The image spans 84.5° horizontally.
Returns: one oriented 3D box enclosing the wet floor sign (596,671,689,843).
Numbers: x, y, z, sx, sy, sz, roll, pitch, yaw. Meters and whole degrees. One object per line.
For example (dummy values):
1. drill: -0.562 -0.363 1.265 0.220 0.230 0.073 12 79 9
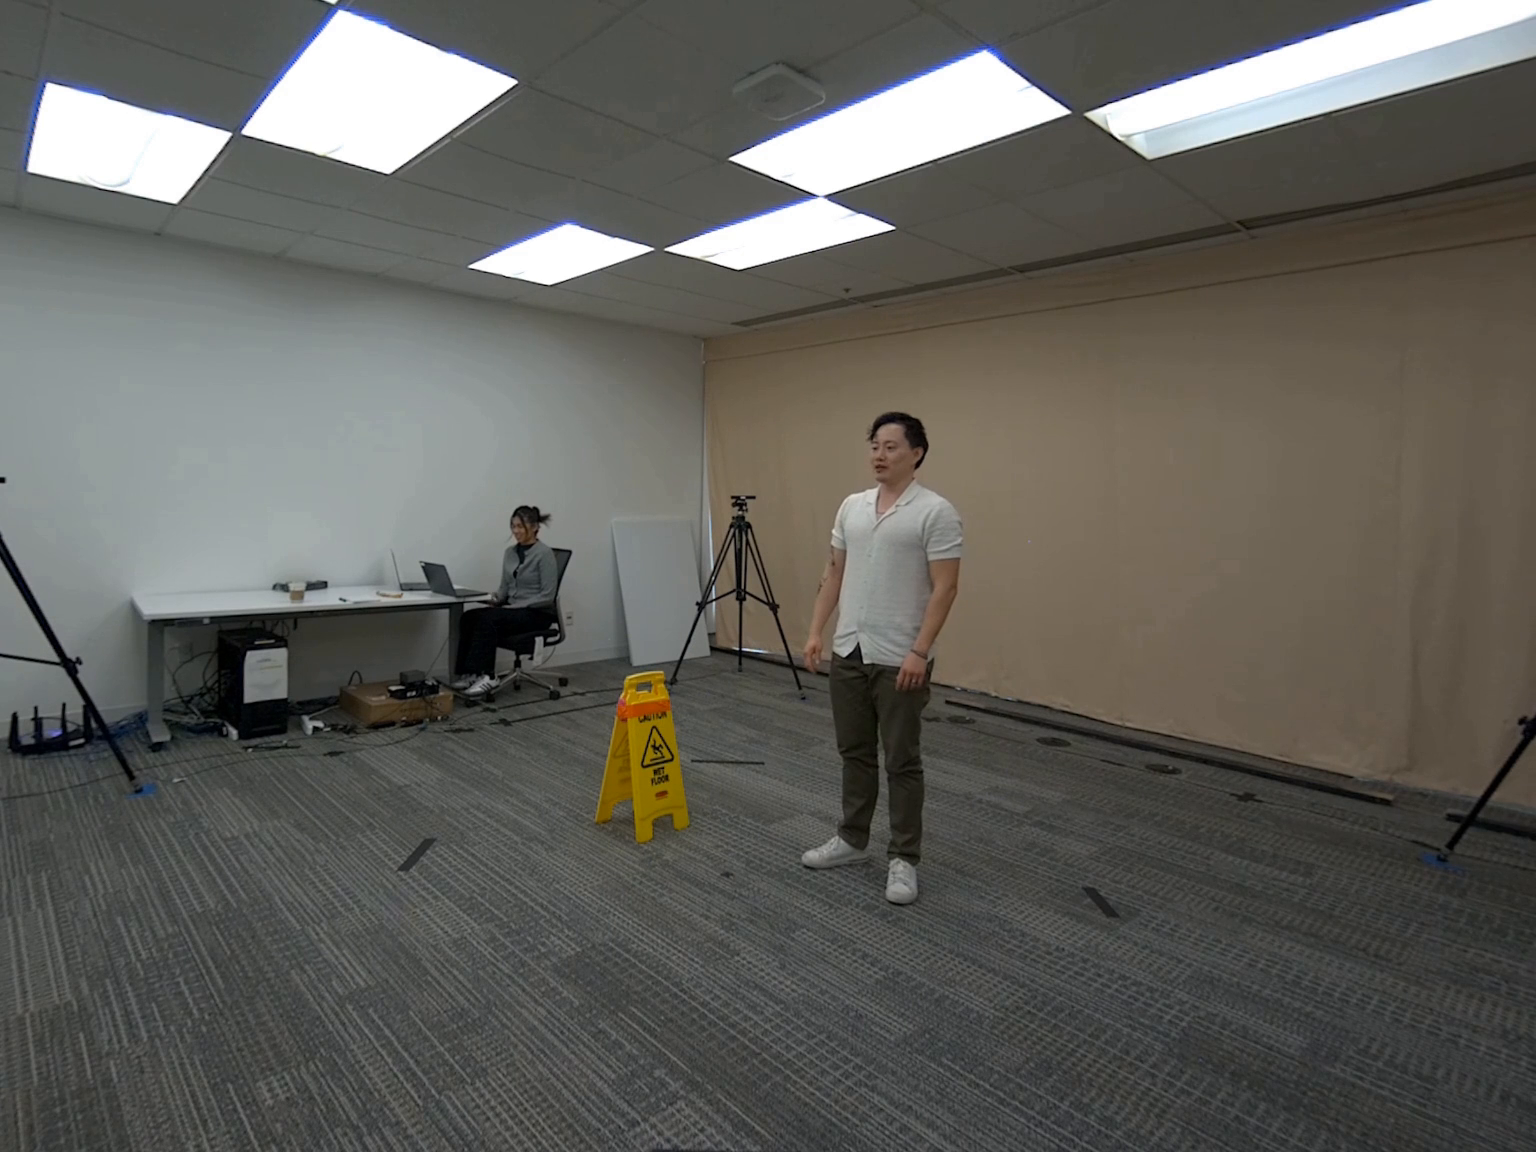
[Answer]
1. wet floor sign: -0.534 0.730 3.549 0.297 0.645 0.275 3 3 43
